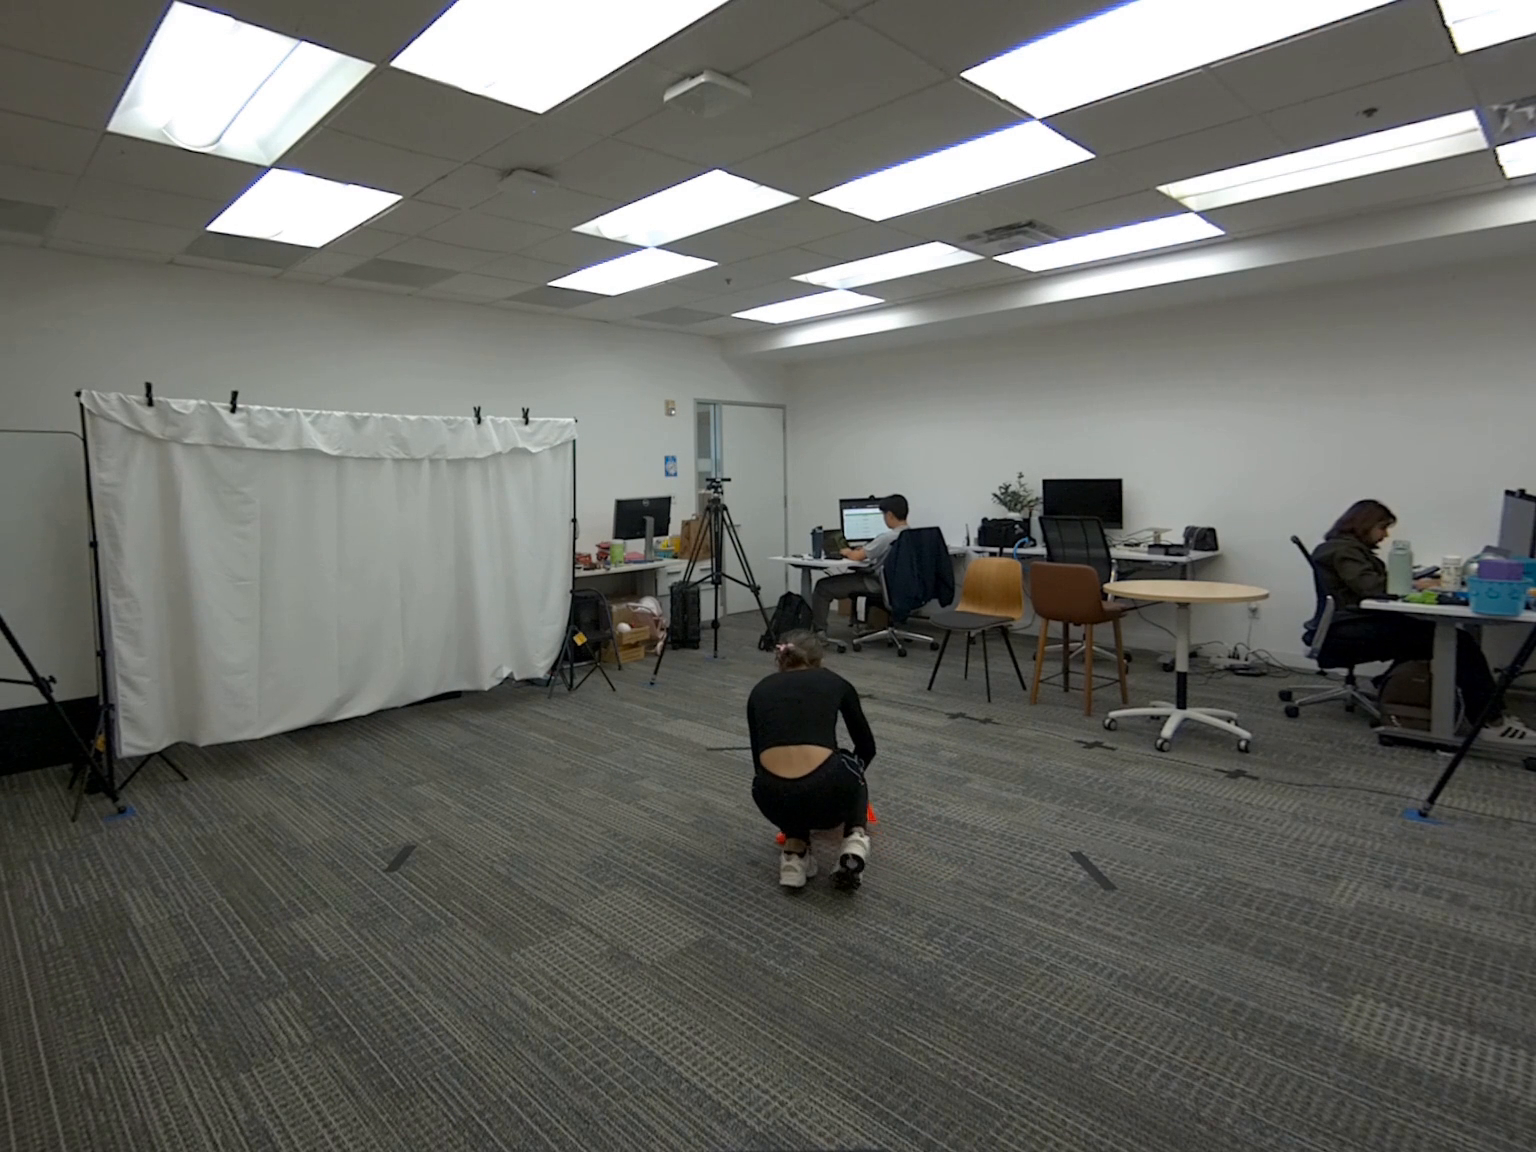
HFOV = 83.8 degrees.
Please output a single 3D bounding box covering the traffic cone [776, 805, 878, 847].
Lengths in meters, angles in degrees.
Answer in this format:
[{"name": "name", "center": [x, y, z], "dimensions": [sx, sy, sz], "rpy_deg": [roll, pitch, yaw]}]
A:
[{"name": "traffic cone", "center": [0.203, 0.952, 3.365], "dimensions": [0.378, 0.205, 0.206], "rpy_deg": [-21, -1, -26]}]
